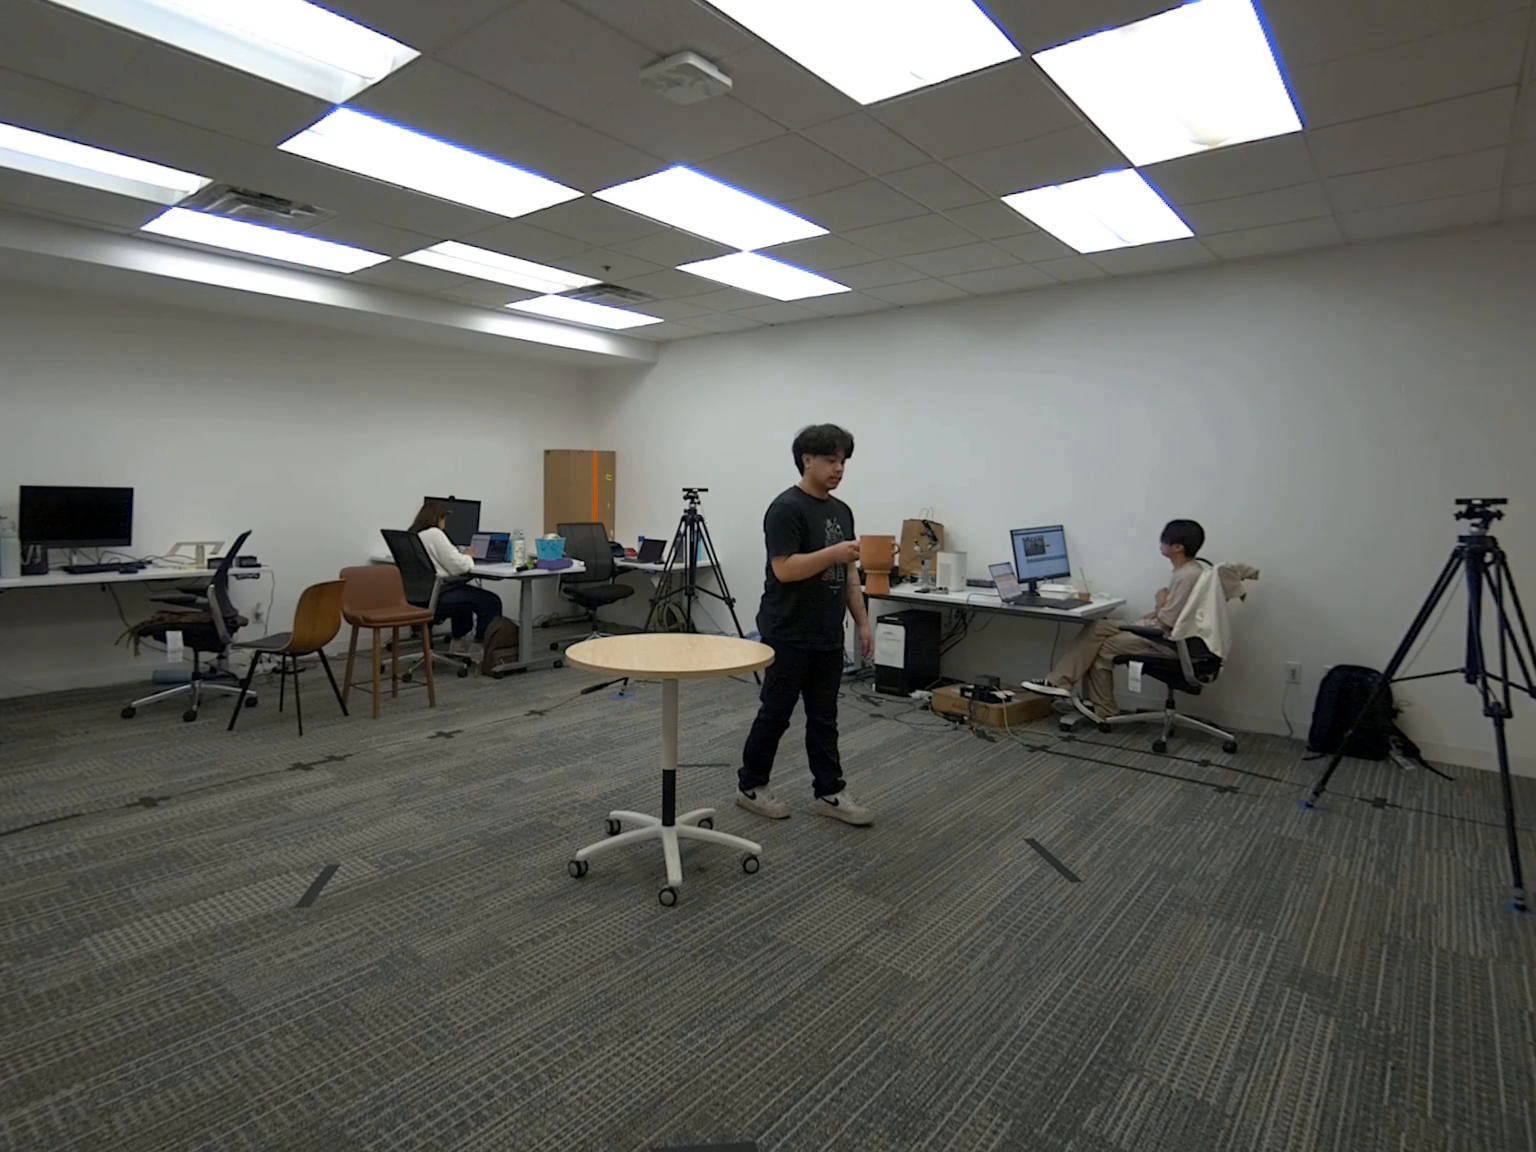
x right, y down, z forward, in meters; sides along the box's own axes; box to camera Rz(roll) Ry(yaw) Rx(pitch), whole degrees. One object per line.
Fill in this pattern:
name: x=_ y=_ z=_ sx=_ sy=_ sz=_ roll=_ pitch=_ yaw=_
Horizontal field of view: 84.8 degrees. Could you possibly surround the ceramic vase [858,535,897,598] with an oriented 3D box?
ceramic vase: x=0.400 y=-0.048 z=3.226 sx=0.133 sy=0.220 sz=0.160 roll=2 pitch=0 yaw=-11
